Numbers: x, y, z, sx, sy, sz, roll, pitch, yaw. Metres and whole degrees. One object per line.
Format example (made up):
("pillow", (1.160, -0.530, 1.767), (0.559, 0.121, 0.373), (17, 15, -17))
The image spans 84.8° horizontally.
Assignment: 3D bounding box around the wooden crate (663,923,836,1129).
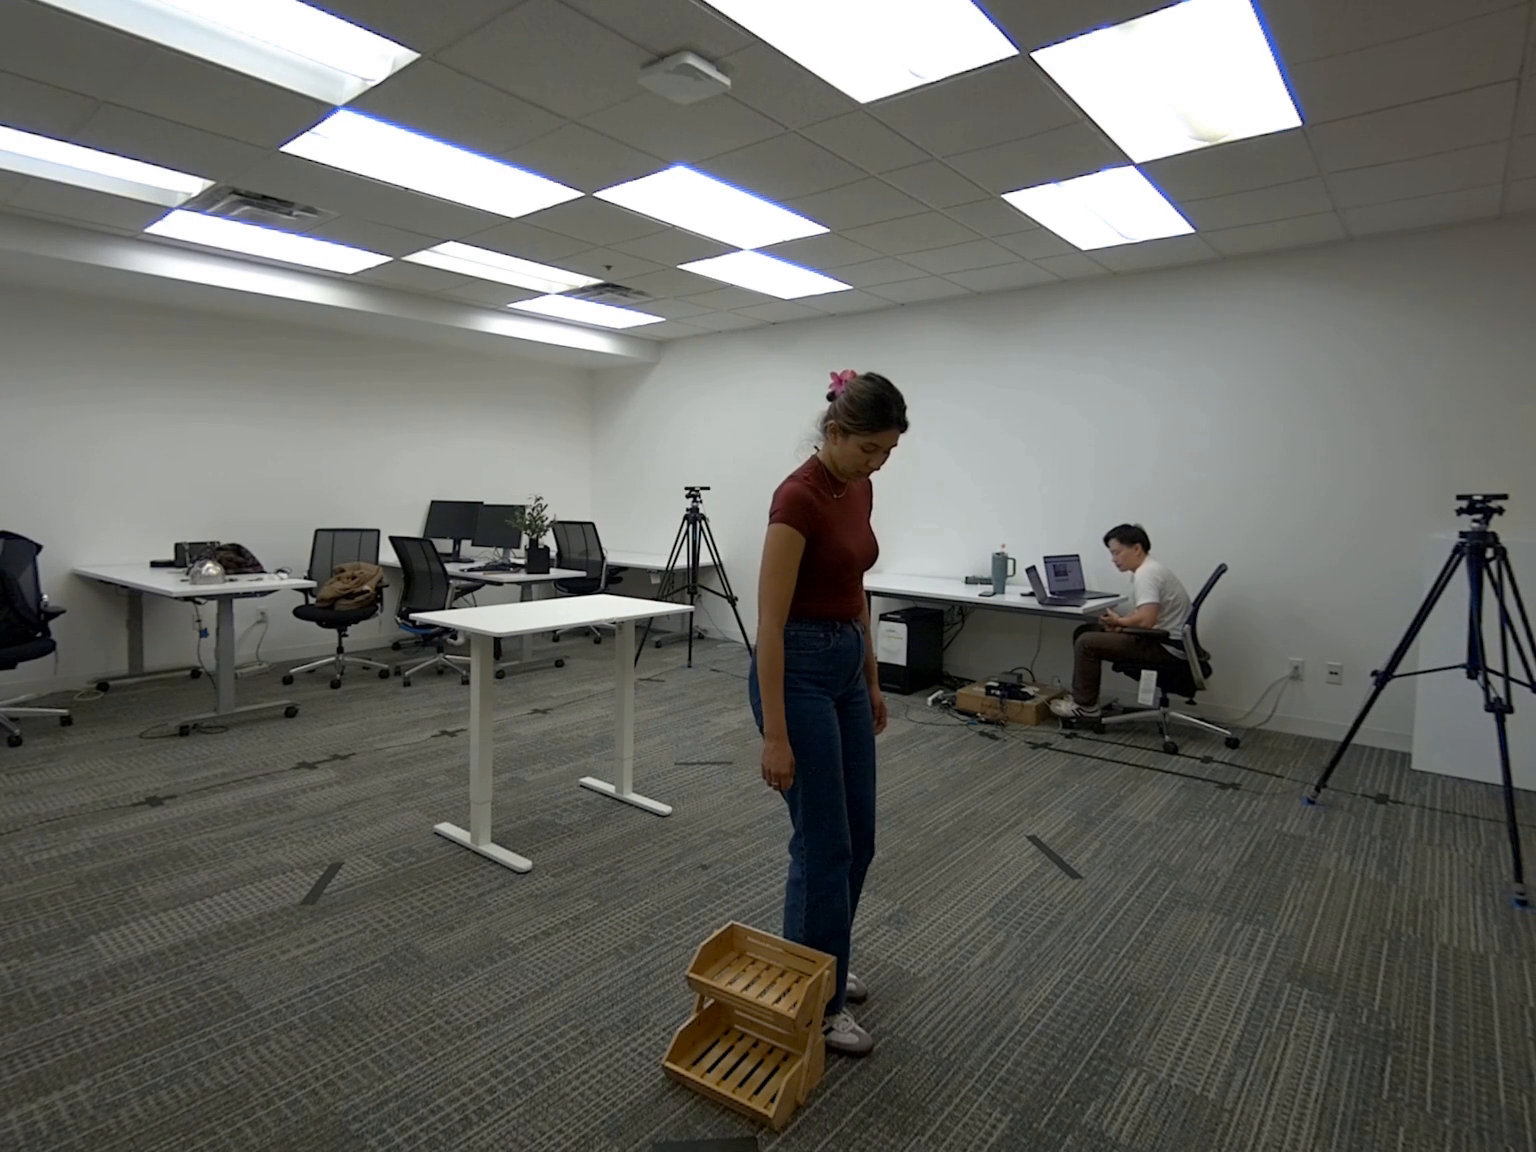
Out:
("wooden crate", (-0.050, 1.049, 2.021), (0.334, 0.272, 0.294), (4, 5, 32))
